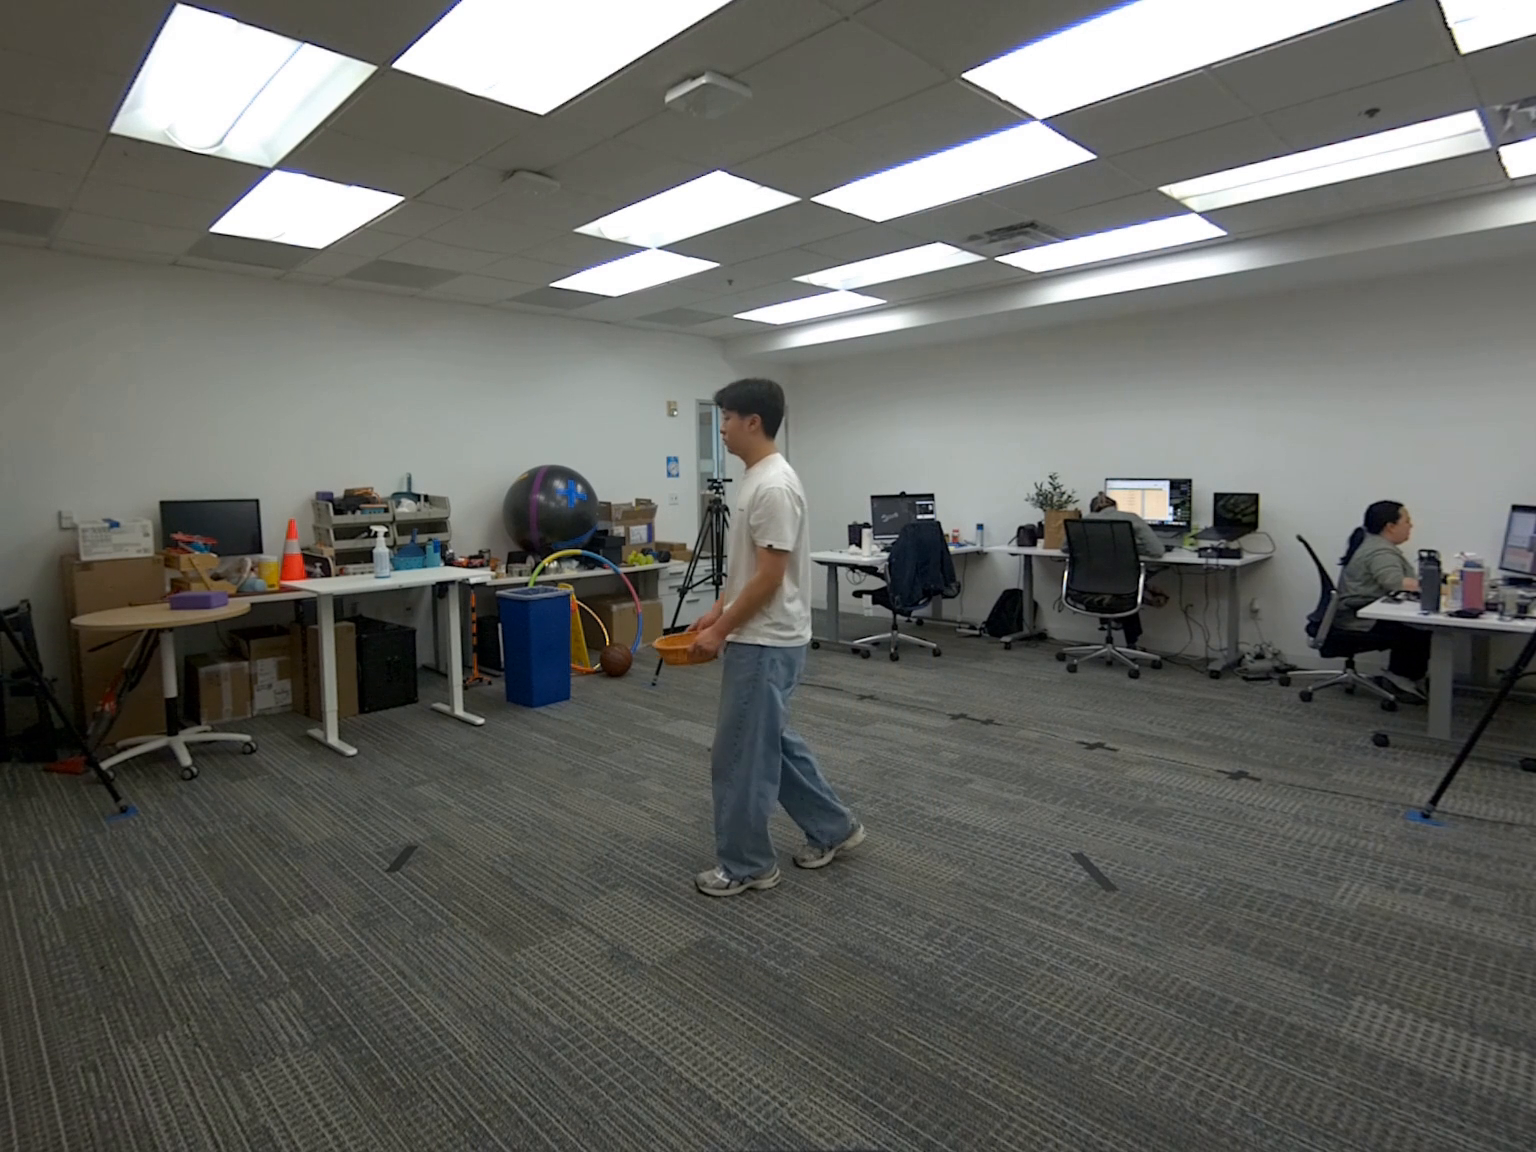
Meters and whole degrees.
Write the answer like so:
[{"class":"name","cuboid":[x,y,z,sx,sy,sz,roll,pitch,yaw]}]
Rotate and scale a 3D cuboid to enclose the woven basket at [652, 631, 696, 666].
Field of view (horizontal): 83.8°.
[{"class":"woven basket","cuboid":[-0.265,0.256,3.022,0.252,0.073,0.352,-5,5,-2]}]
